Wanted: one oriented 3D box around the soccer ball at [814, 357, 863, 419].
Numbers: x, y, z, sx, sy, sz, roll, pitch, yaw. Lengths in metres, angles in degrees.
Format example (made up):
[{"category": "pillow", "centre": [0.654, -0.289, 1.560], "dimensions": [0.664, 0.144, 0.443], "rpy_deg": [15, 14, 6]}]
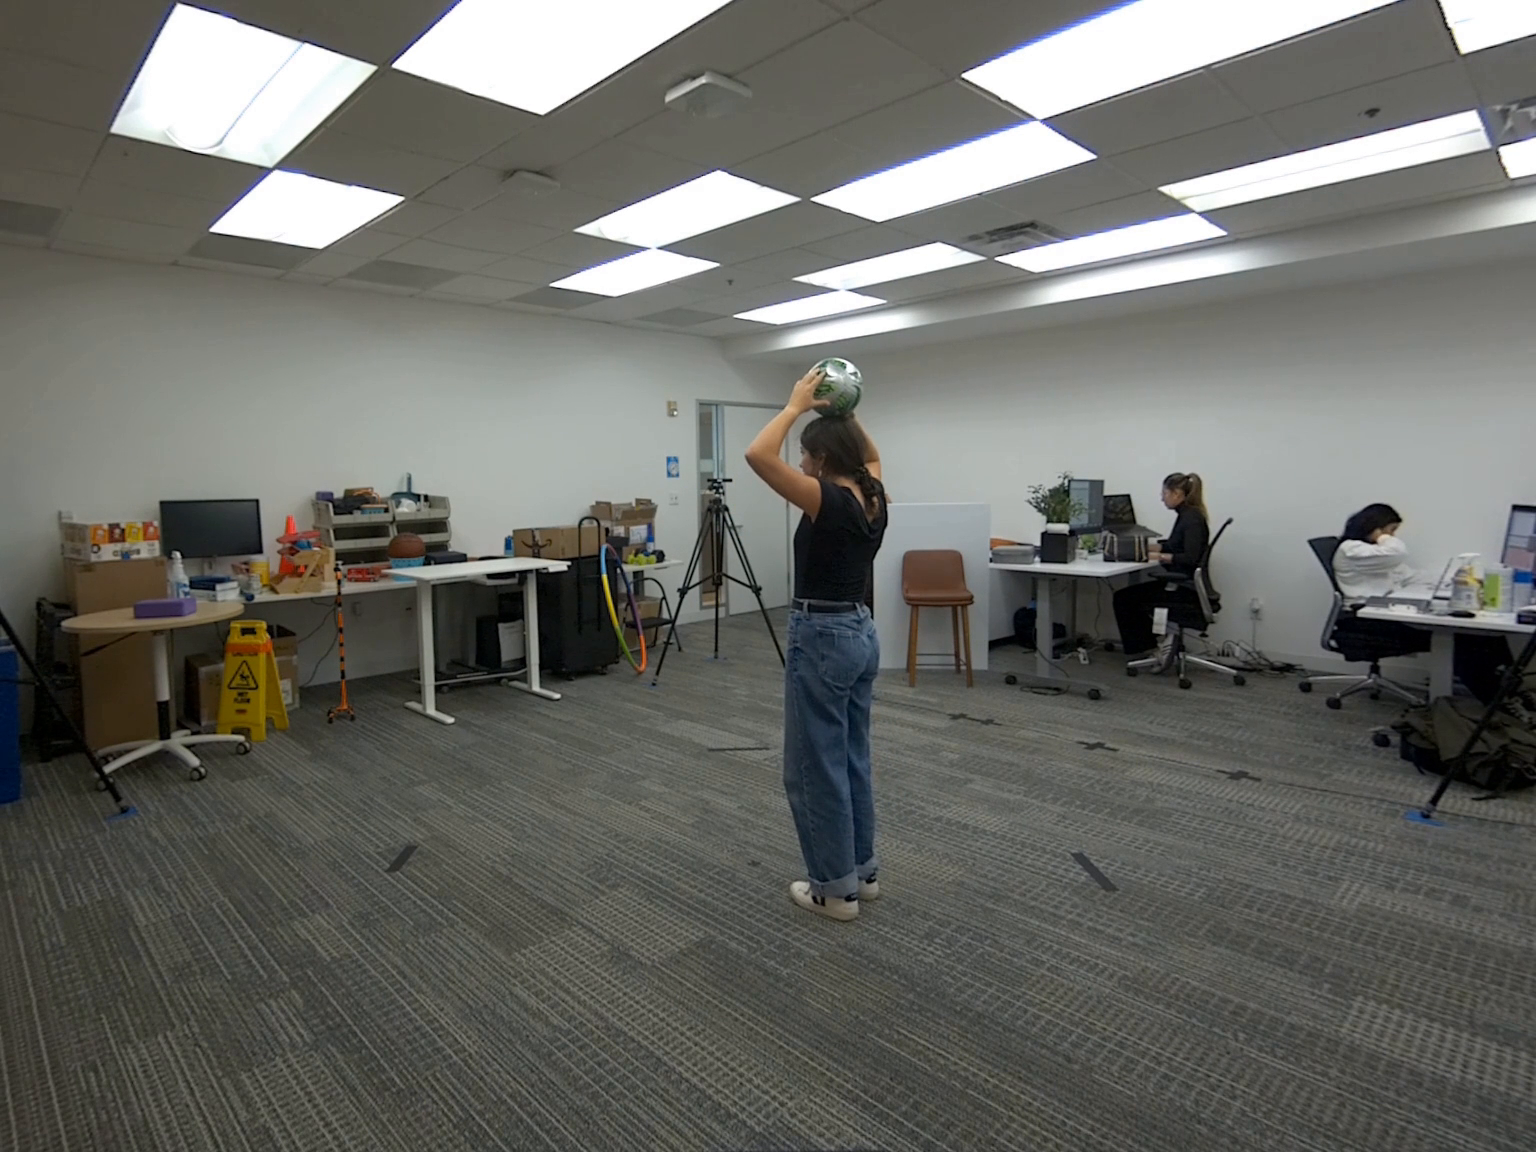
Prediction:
[{"category": "soccer ball", "centre": [0.214, -0.597, 2.726], "dimensions": [0.187, 0.187, 0.188], "rpy_deg": [-1, 5, -2]}]
